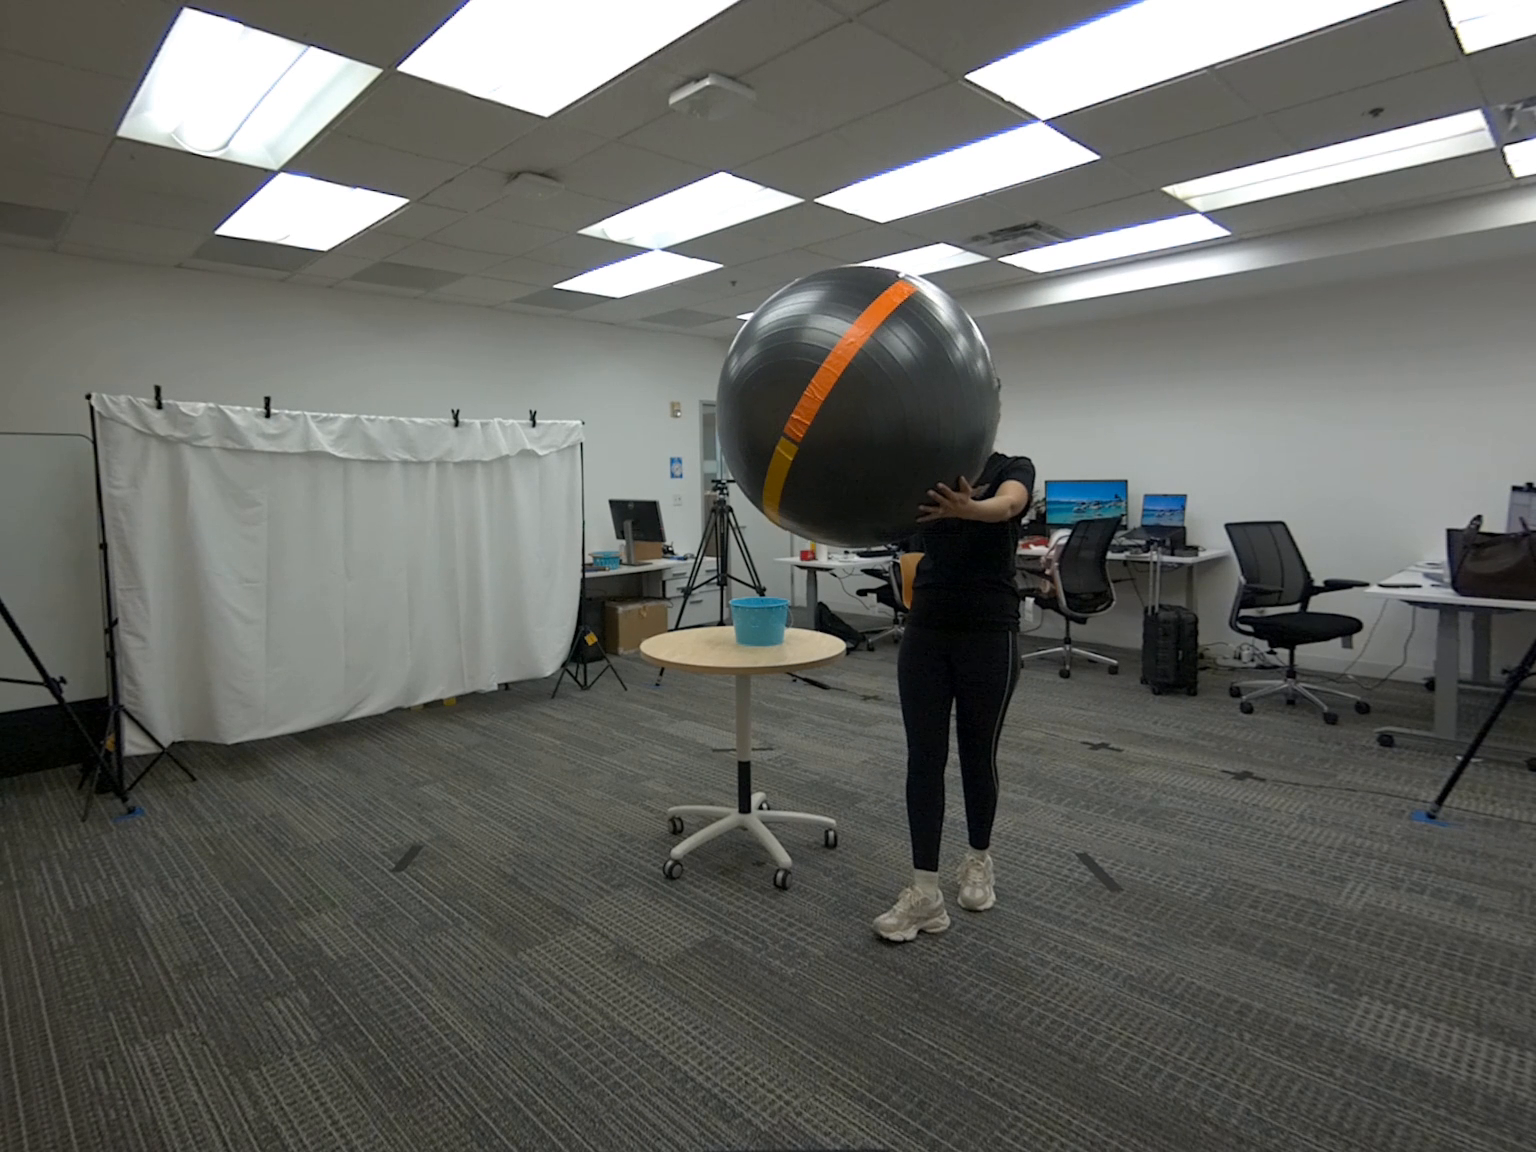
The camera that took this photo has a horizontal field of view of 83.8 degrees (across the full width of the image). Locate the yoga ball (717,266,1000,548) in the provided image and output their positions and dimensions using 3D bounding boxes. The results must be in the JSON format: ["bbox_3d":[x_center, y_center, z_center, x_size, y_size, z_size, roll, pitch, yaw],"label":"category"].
[{"bbox_3d":[0.234,-0.452,2.330,0.757,0.755,0.762,-1,5,-2],"label":"yoga ball"}]
